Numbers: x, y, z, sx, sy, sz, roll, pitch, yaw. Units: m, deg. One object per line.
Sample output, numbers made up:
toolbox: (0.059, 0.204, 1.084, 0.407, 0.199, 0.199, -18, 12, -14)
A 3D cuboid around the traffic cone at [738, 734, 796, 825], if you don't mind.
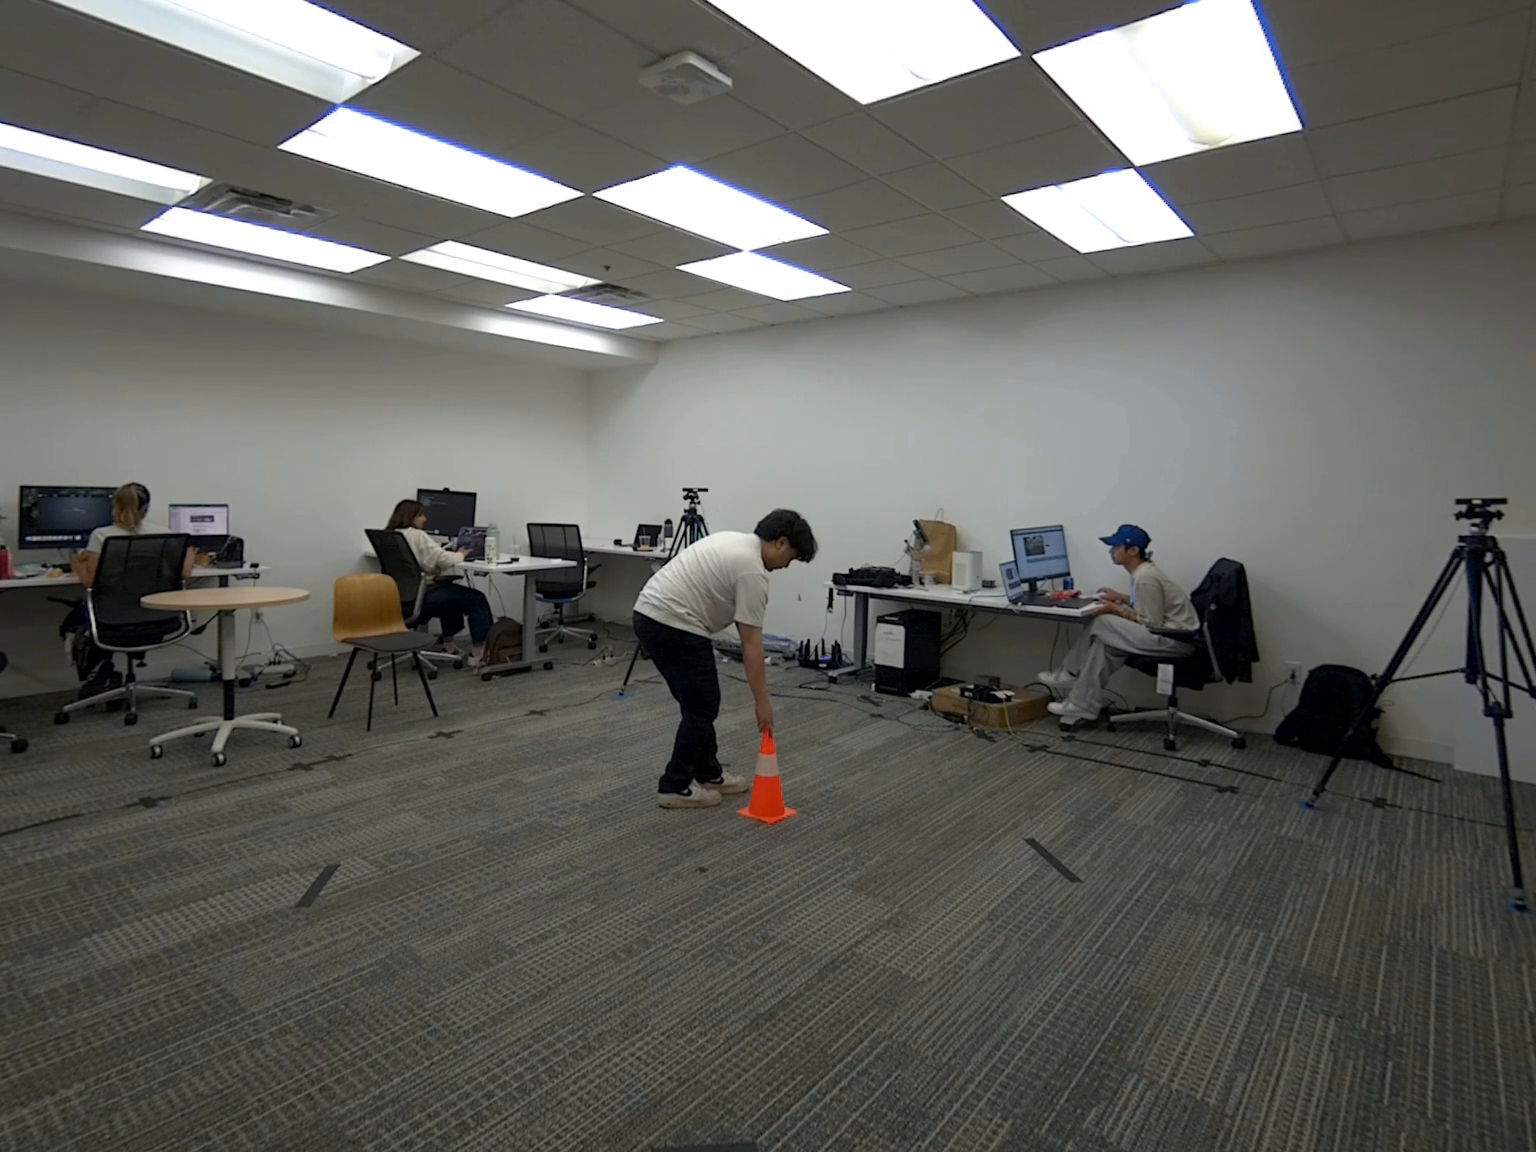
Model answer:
traffic cone: (-0.009, 0.830, 3.678, 0.210, 0.383, 0.199, 3, 2, 33)
